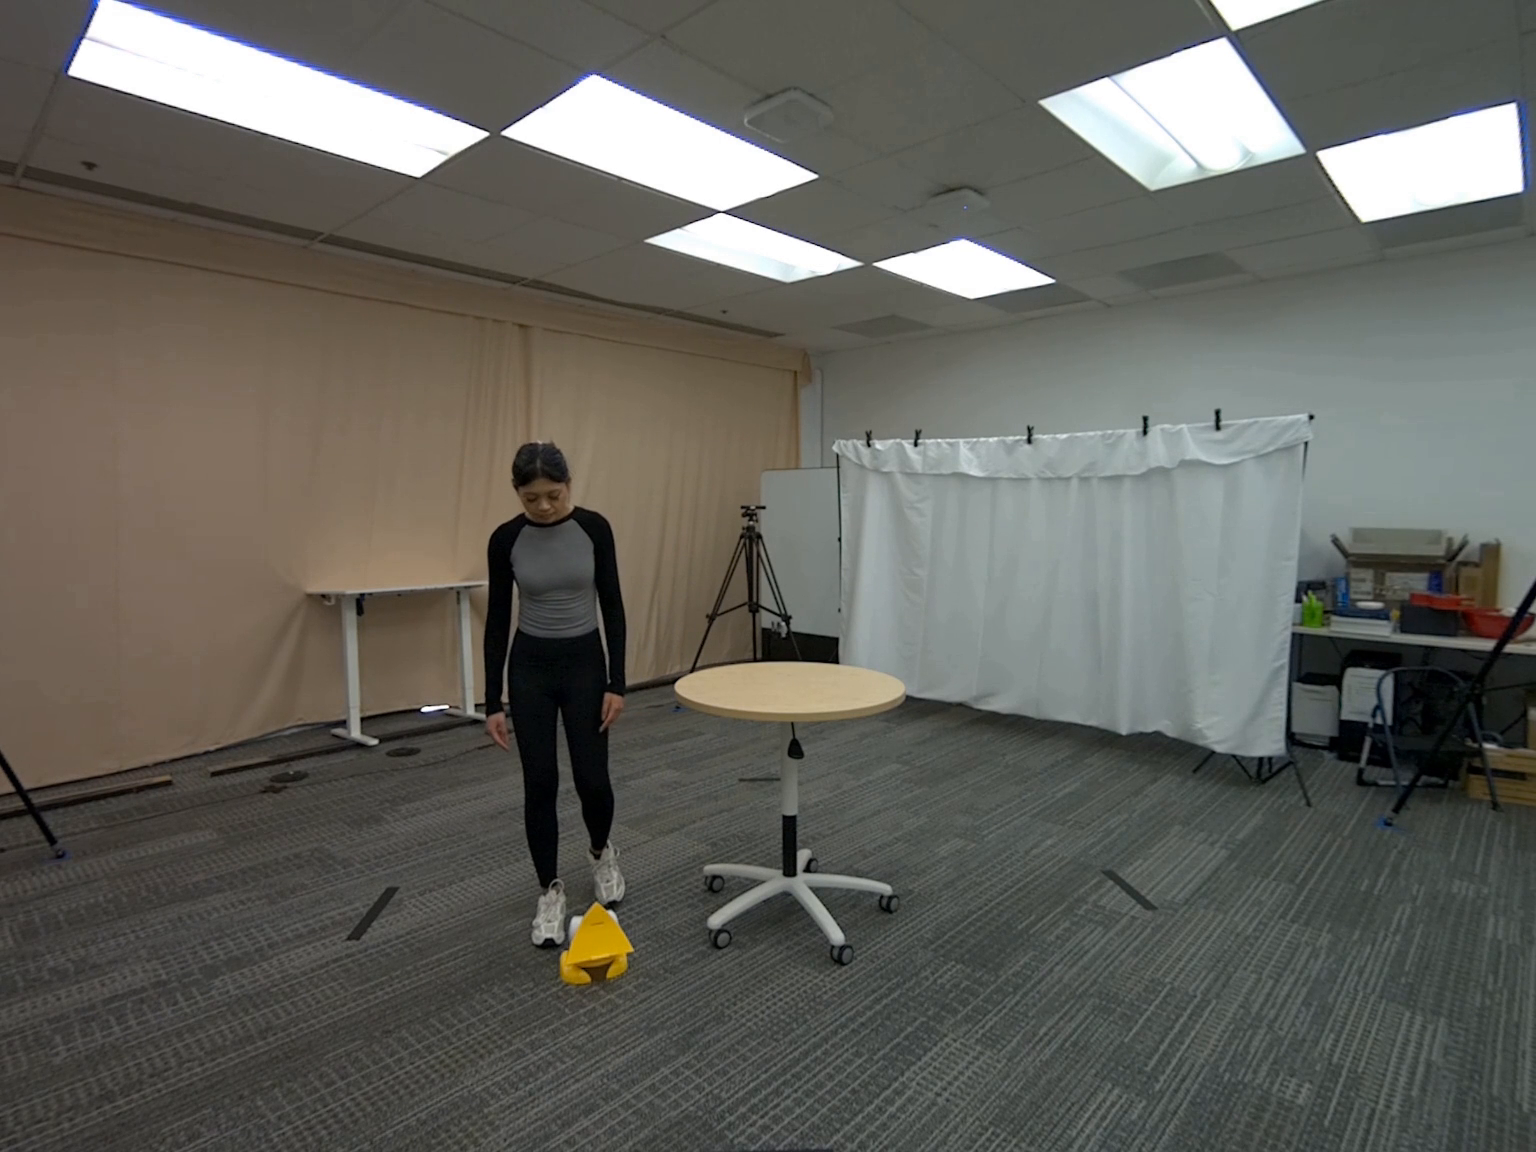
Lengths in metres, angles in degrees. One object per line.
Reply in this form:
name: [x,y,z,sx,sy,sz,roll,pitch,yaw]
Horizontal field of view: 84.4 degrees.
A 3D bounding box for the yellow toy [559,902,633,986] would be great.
yellow toy: [-0.528,1.073,2.532,0.200,0.230,0.198,-3,3,-23]
